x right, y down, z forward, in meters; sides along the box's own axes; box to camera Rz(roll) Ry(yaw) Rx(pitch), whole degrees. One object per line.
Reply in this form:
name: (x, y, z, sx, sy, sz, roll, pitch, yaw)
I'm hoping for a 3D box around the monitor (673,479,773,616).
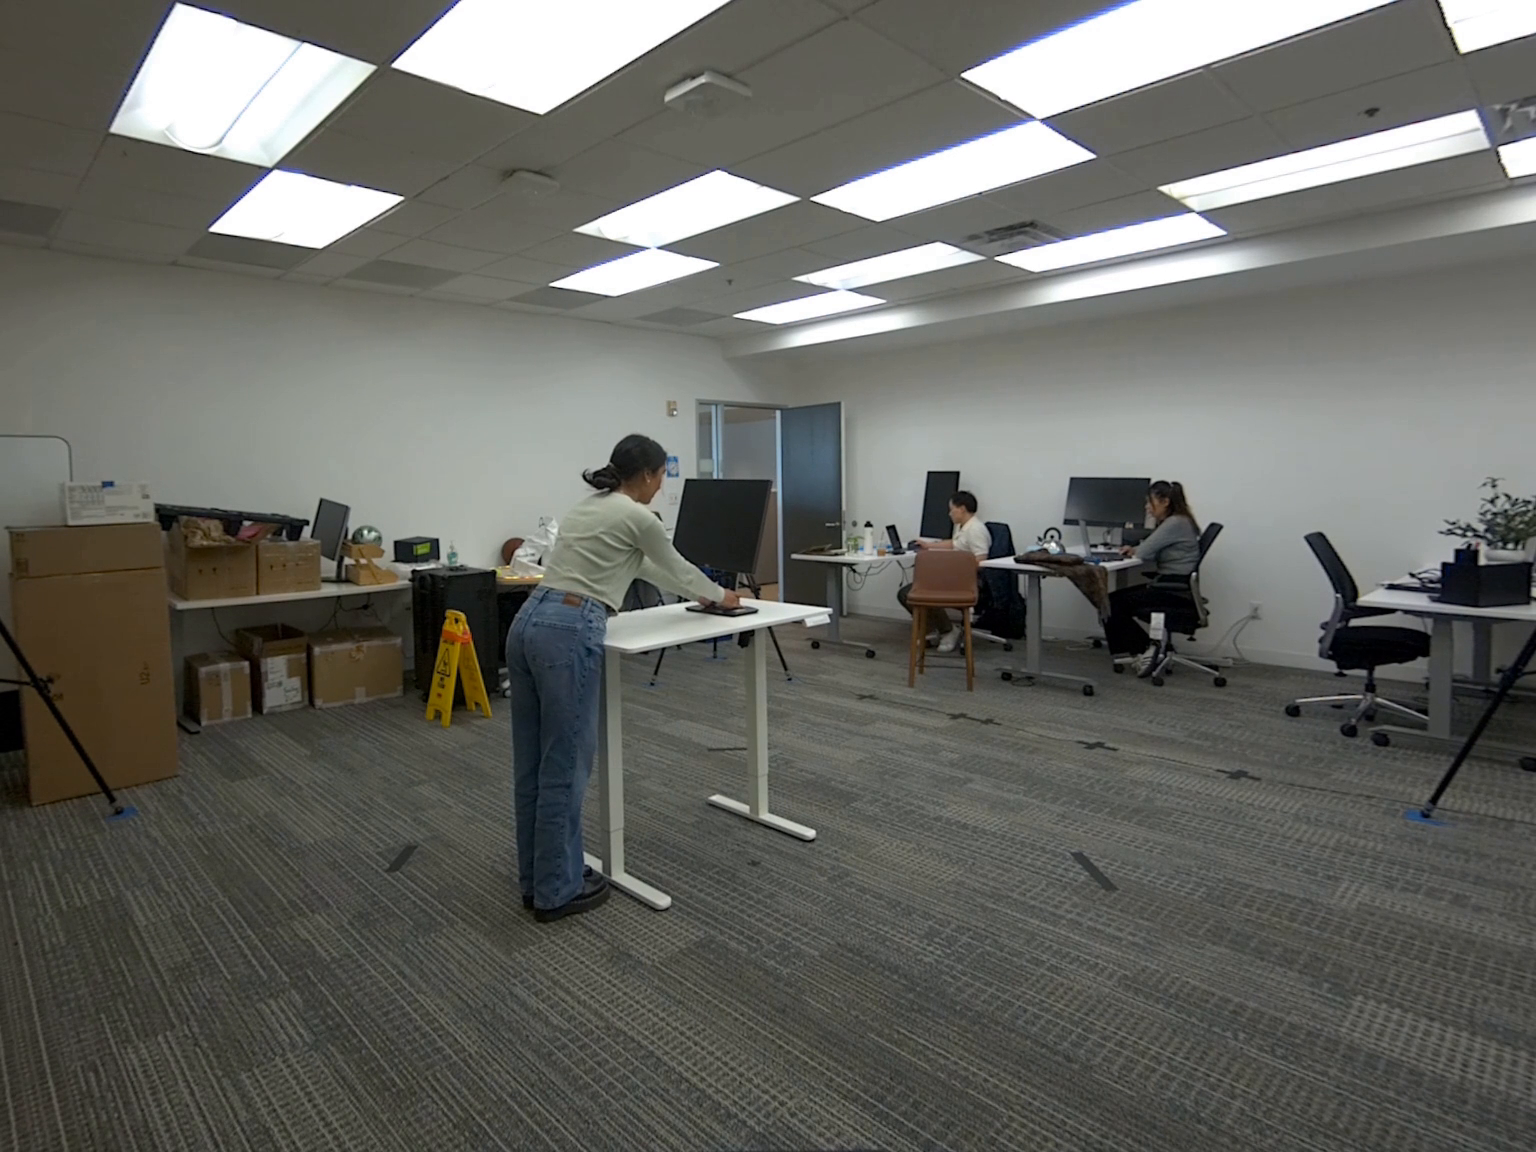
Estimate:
monitor: (-0.168, -0.116, 3.322, 0.182, 0.521, 0.556, -2, 5, -40)
